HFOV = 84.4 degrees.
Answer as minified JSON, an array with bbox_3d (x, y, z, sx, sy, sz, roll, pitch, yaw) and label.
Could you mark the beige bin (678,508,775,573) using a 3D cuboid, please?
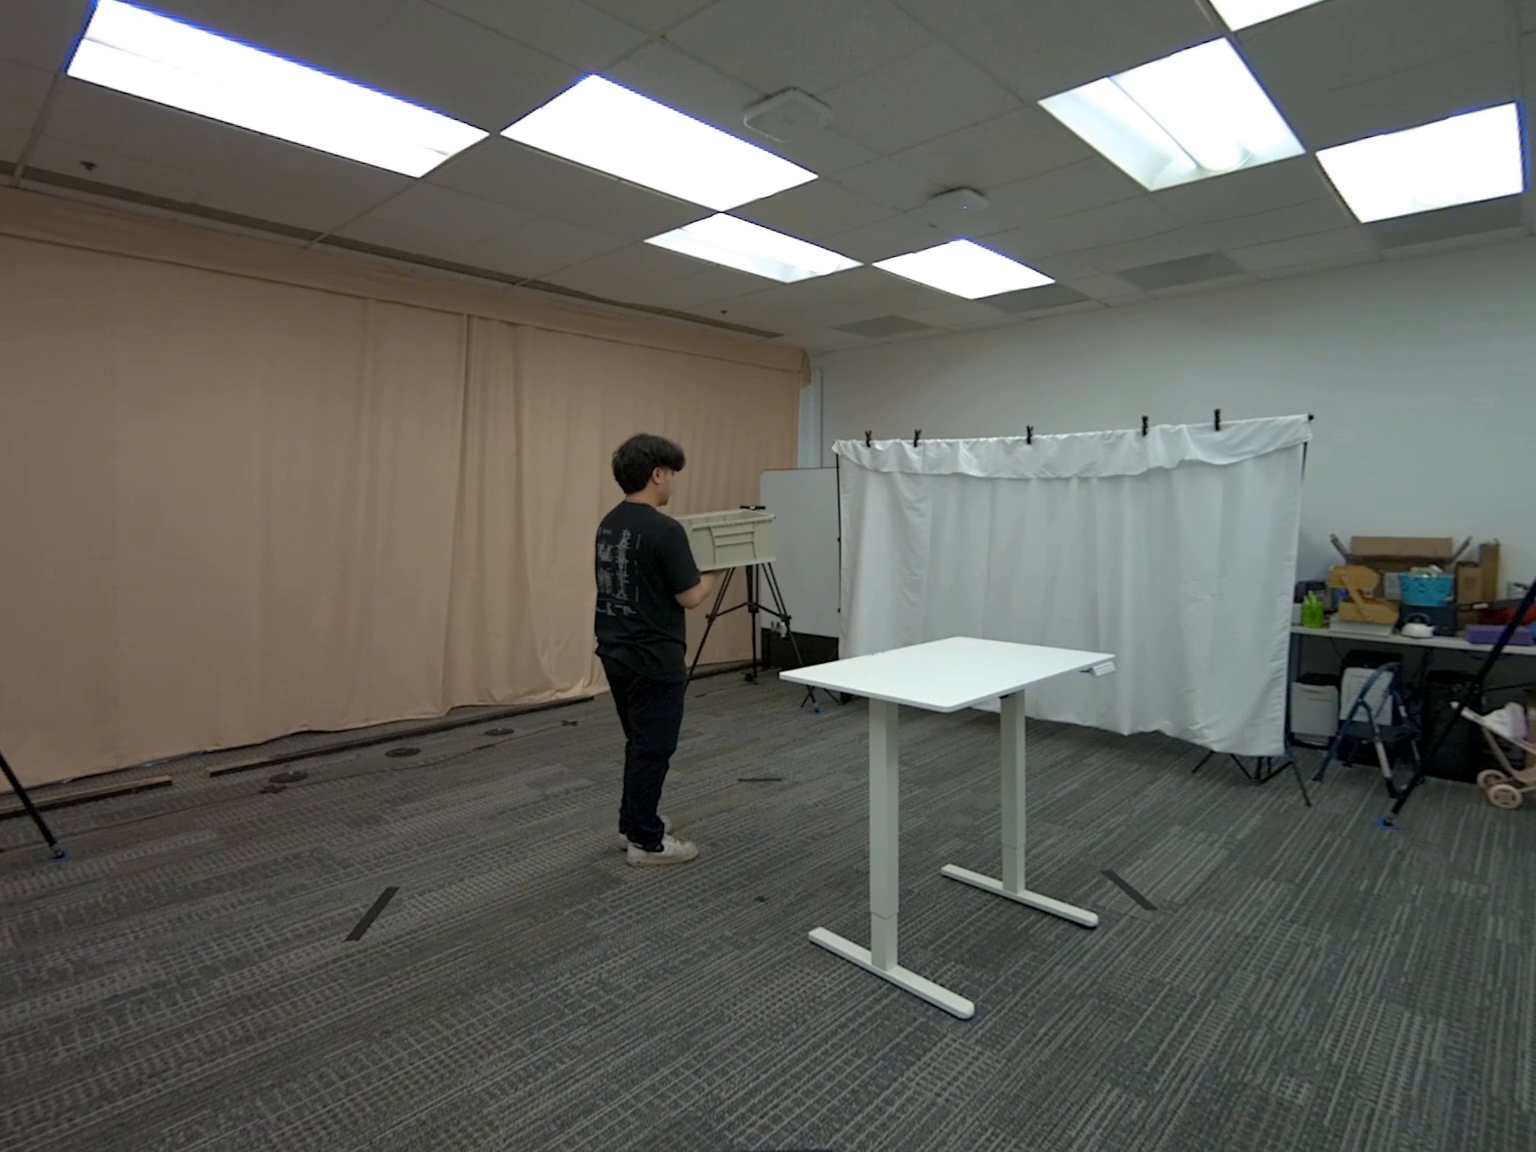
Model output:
[{"bbox_3d":[-0.209,-0.149,3.438,0.371,0.188,0.431,-7,9,-17],"label":"beige bin"}]
